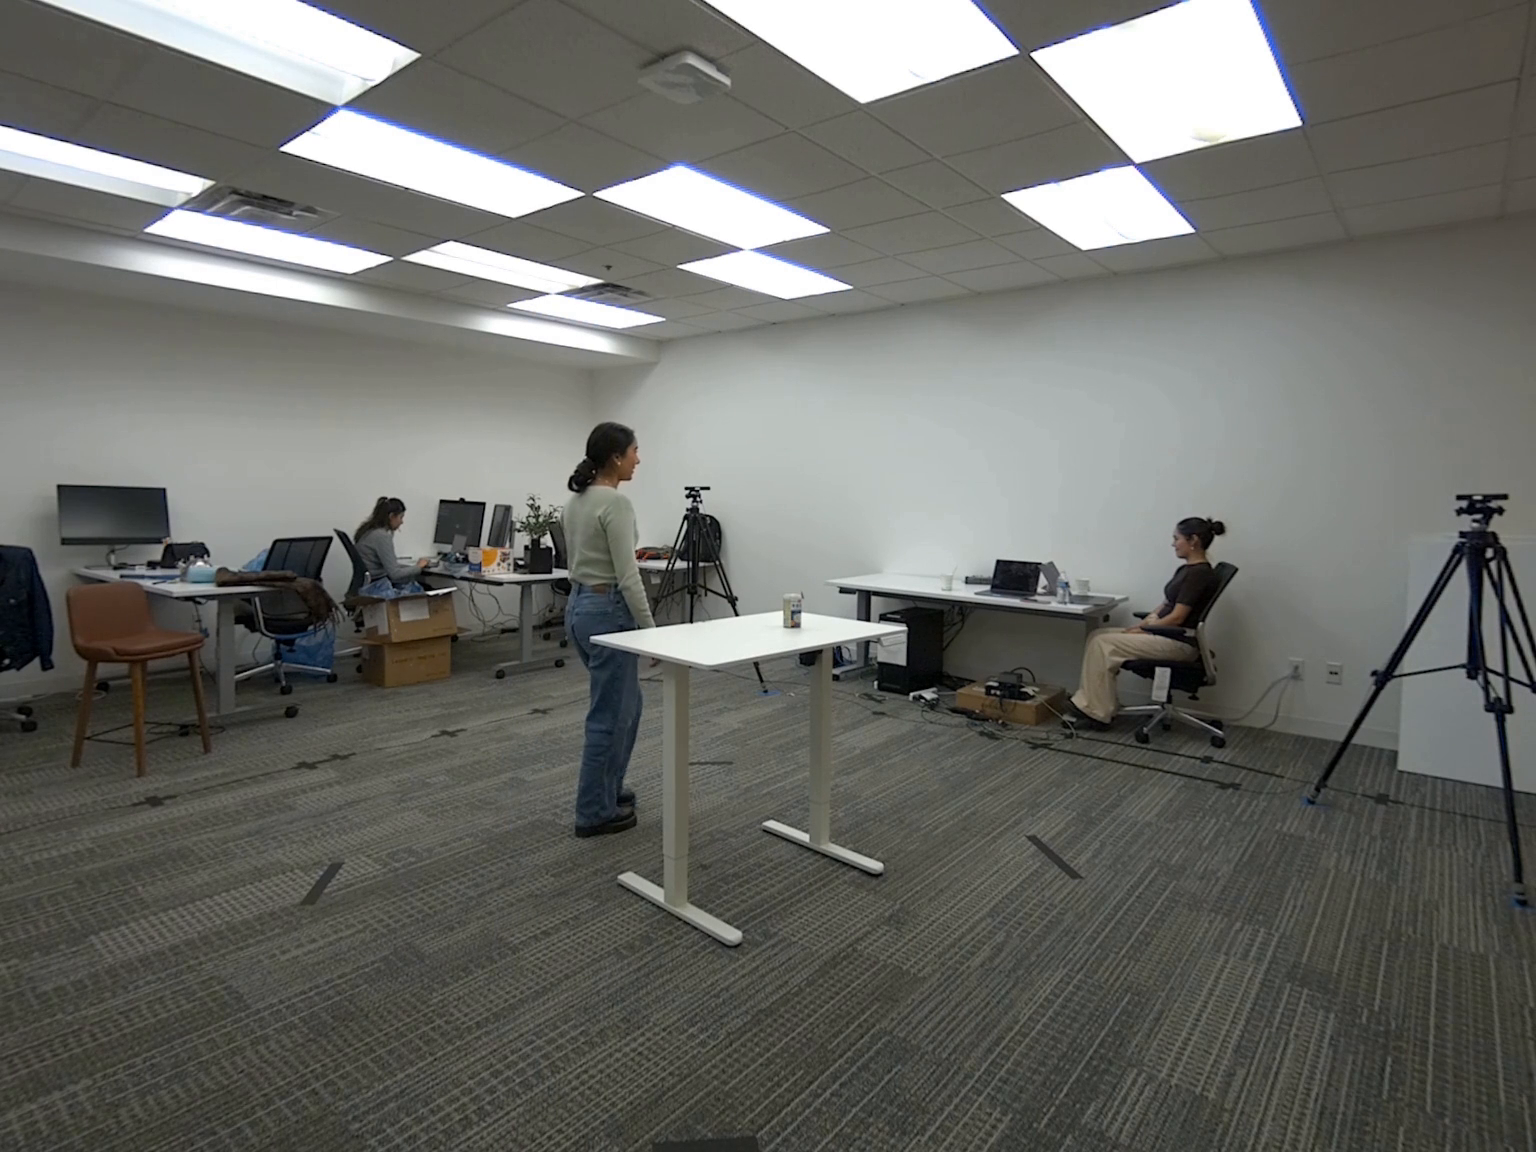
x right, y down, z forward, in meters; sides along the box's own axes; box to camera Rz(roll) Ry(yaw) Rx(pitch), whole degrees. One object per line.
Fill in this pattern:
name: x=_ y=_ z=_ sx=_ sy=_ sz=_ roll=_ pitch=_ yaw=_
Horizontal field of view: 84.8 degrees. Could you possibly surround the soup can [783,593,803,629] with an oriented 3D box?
soup can: x=0.086 y=0.128 z=3.116 sx=0.067 sy=0.121 sz=0.067 roll=3 pitch=1 yaw=-2
